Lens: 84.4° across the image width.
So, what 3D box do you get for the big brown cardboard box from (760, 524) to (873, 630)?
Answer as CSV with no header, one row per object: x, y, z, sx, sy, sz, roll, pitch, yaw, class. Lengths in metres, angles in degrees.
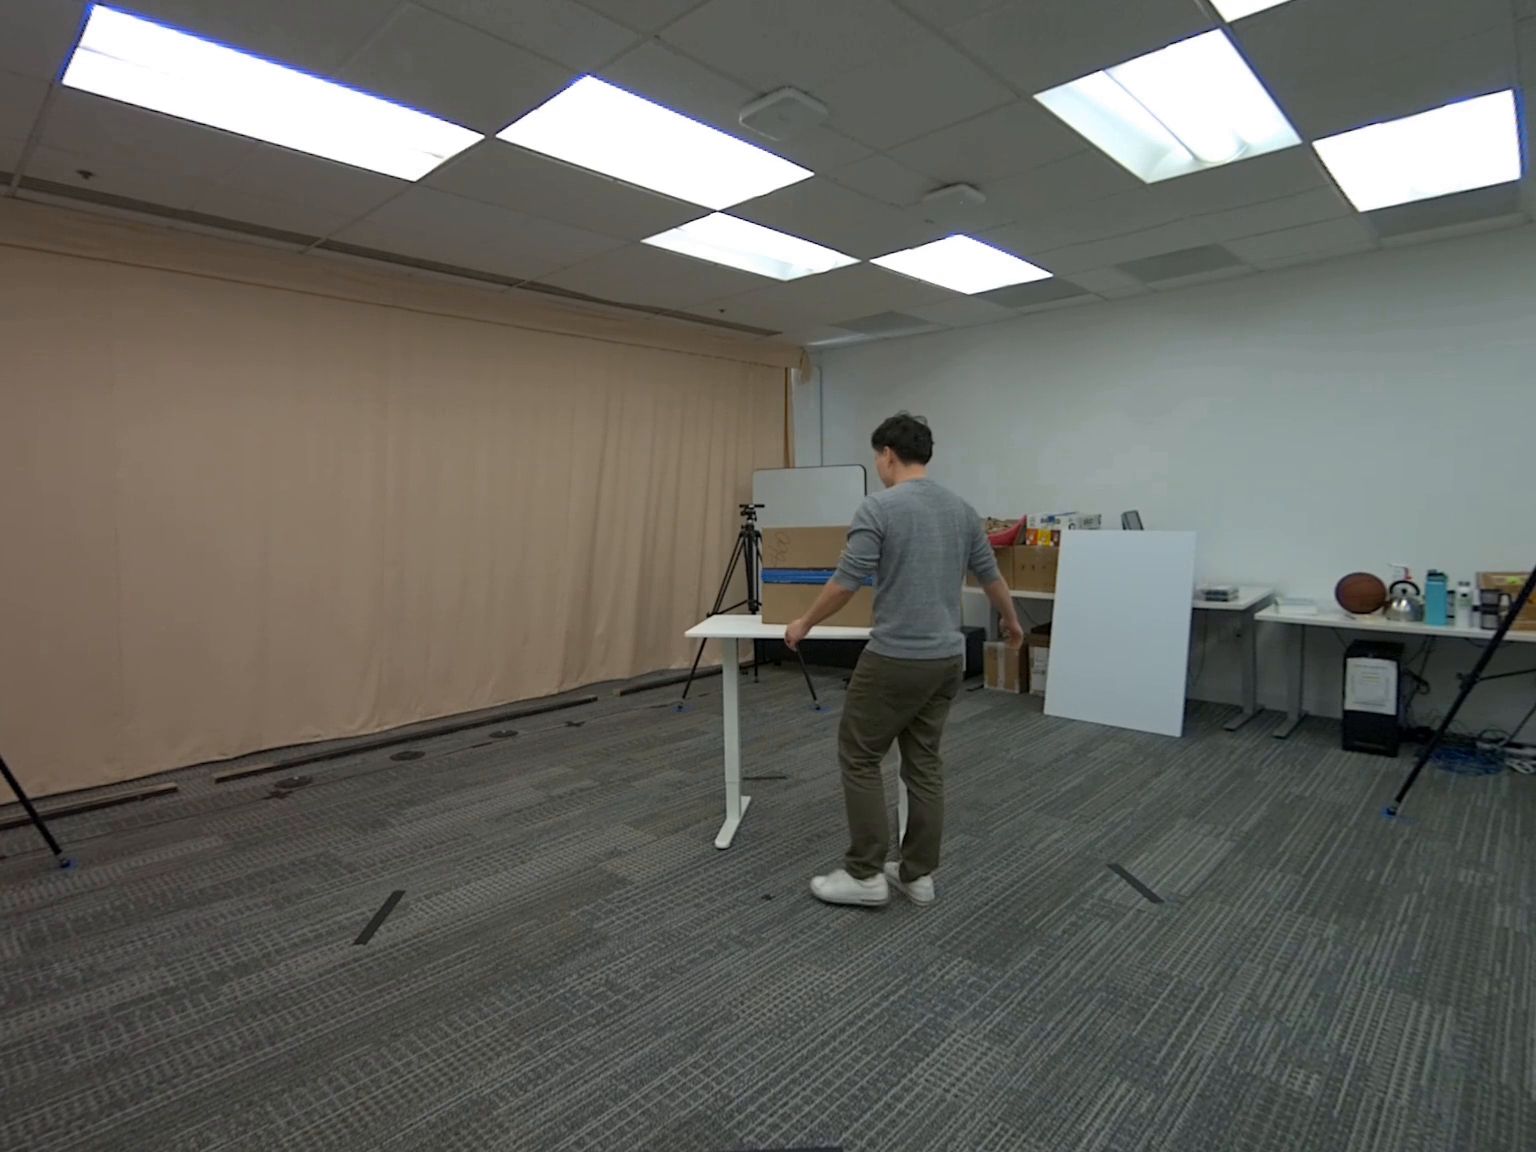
0.279,-0.003,3.593,0.603,0.417,0.228,0,1,23,big brown cardboard box
